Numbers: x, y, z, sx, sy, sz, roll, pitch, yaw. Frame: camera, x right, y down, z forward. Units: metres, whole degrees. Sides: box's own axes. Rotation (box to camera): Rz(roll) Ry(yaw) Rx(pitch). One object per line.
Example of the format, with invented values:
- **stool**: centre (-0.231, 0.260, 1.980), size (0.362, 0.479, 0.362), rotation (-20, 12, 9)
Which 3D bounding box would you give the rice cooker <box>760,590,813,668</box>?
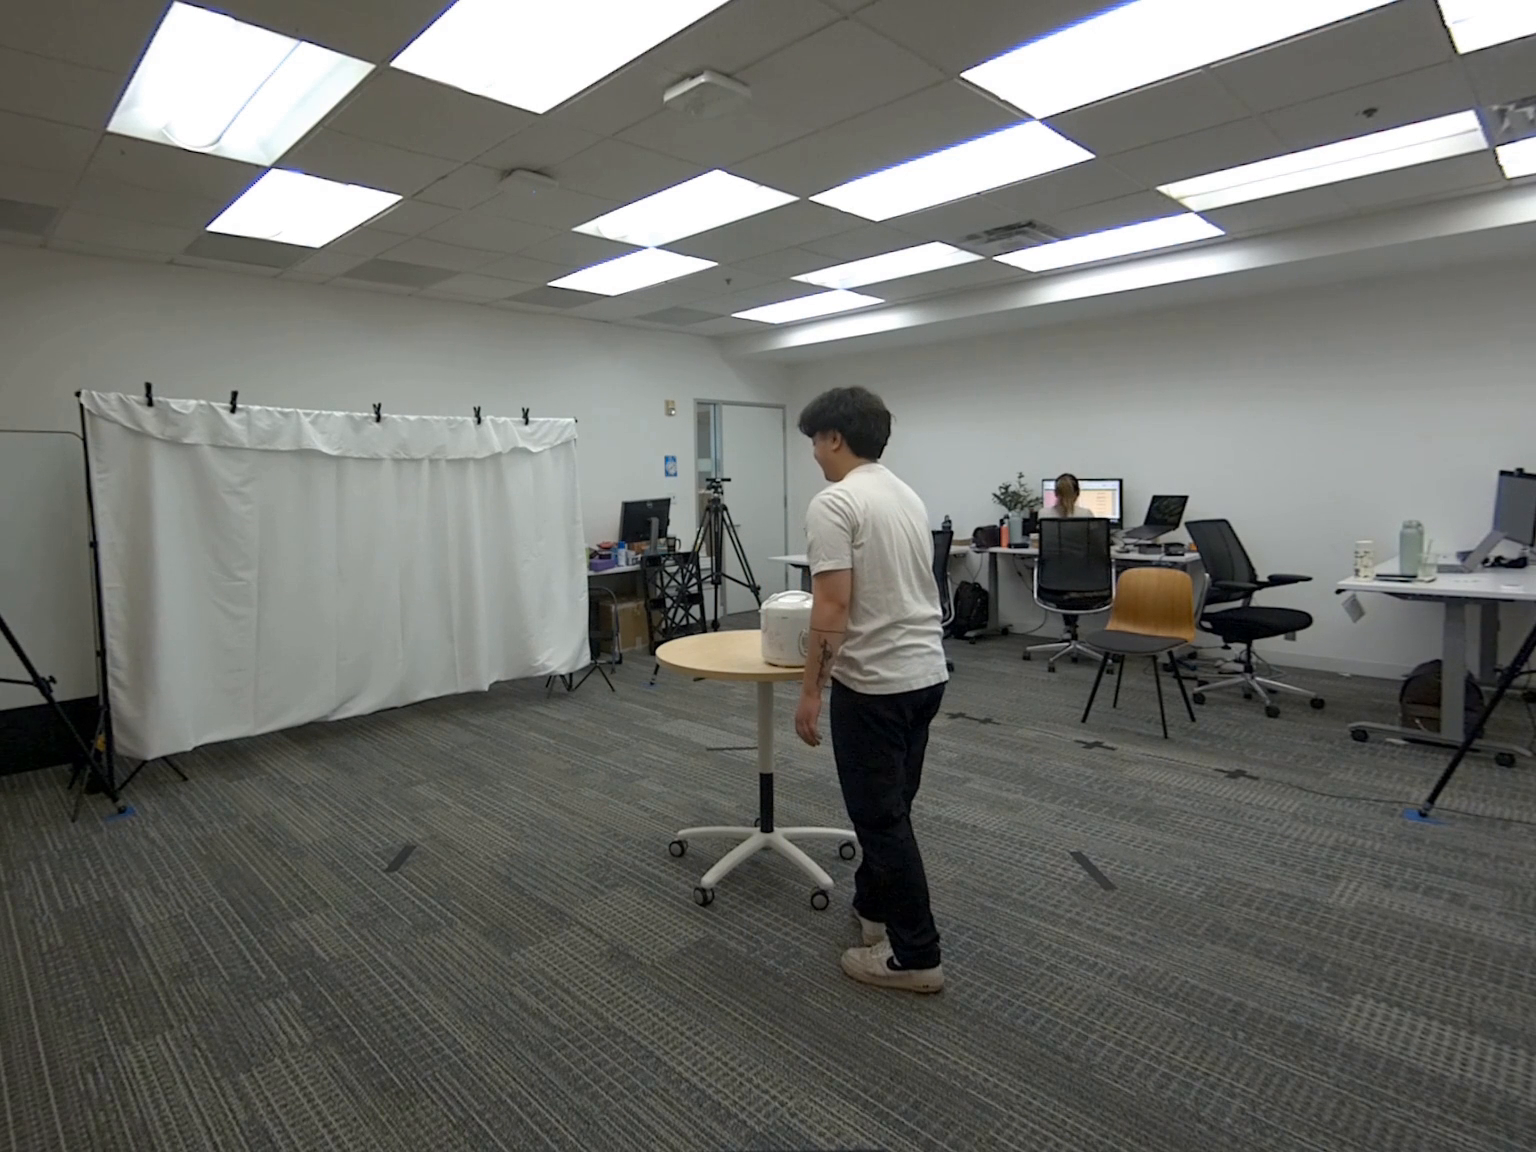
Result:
- **rice cooker**: centre (0.084, 0.164, 2.766), size (0.216, 0.232, 0.222), rotation (-5, 6, -23)
